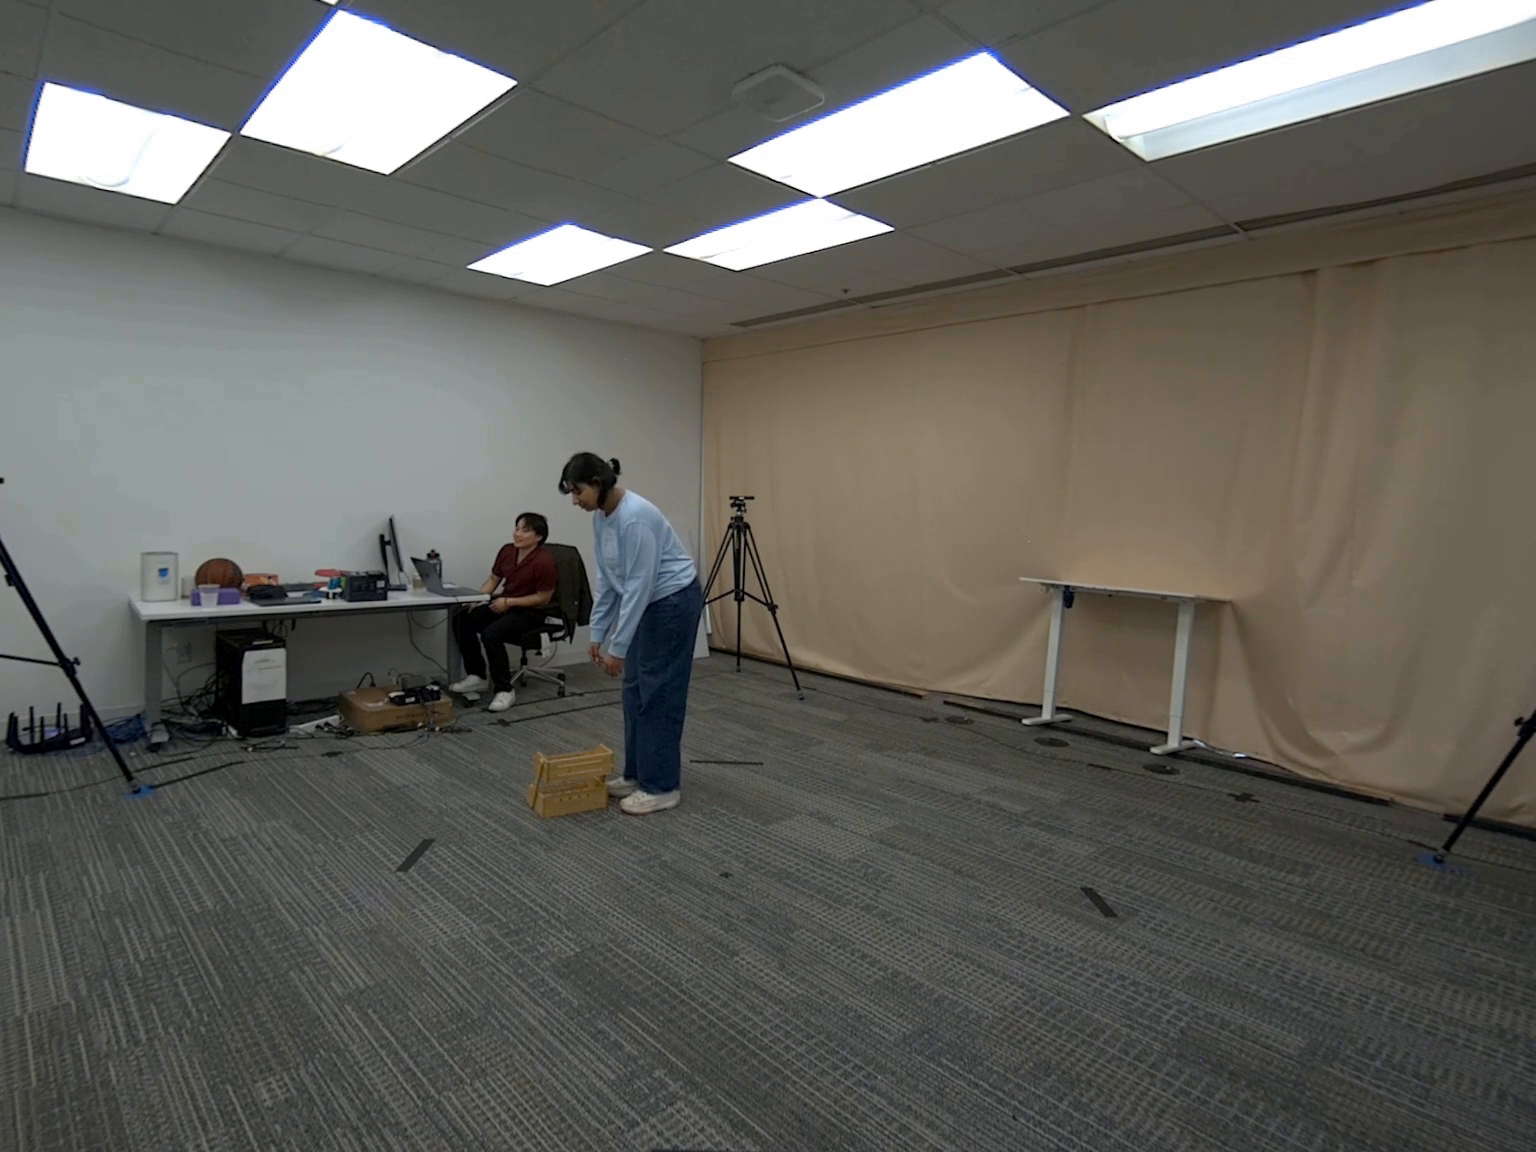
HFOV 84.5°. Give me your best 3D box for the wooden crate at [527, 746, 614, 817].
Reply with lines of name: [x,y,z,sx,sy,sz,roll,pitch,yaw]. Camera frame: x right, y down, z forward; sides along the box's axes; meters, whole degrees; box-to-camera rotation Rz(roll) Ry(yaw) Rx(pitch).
wooden crate: [-0.906,0.897,3.770,0.318,0.272,0.309,0,5,-32]
